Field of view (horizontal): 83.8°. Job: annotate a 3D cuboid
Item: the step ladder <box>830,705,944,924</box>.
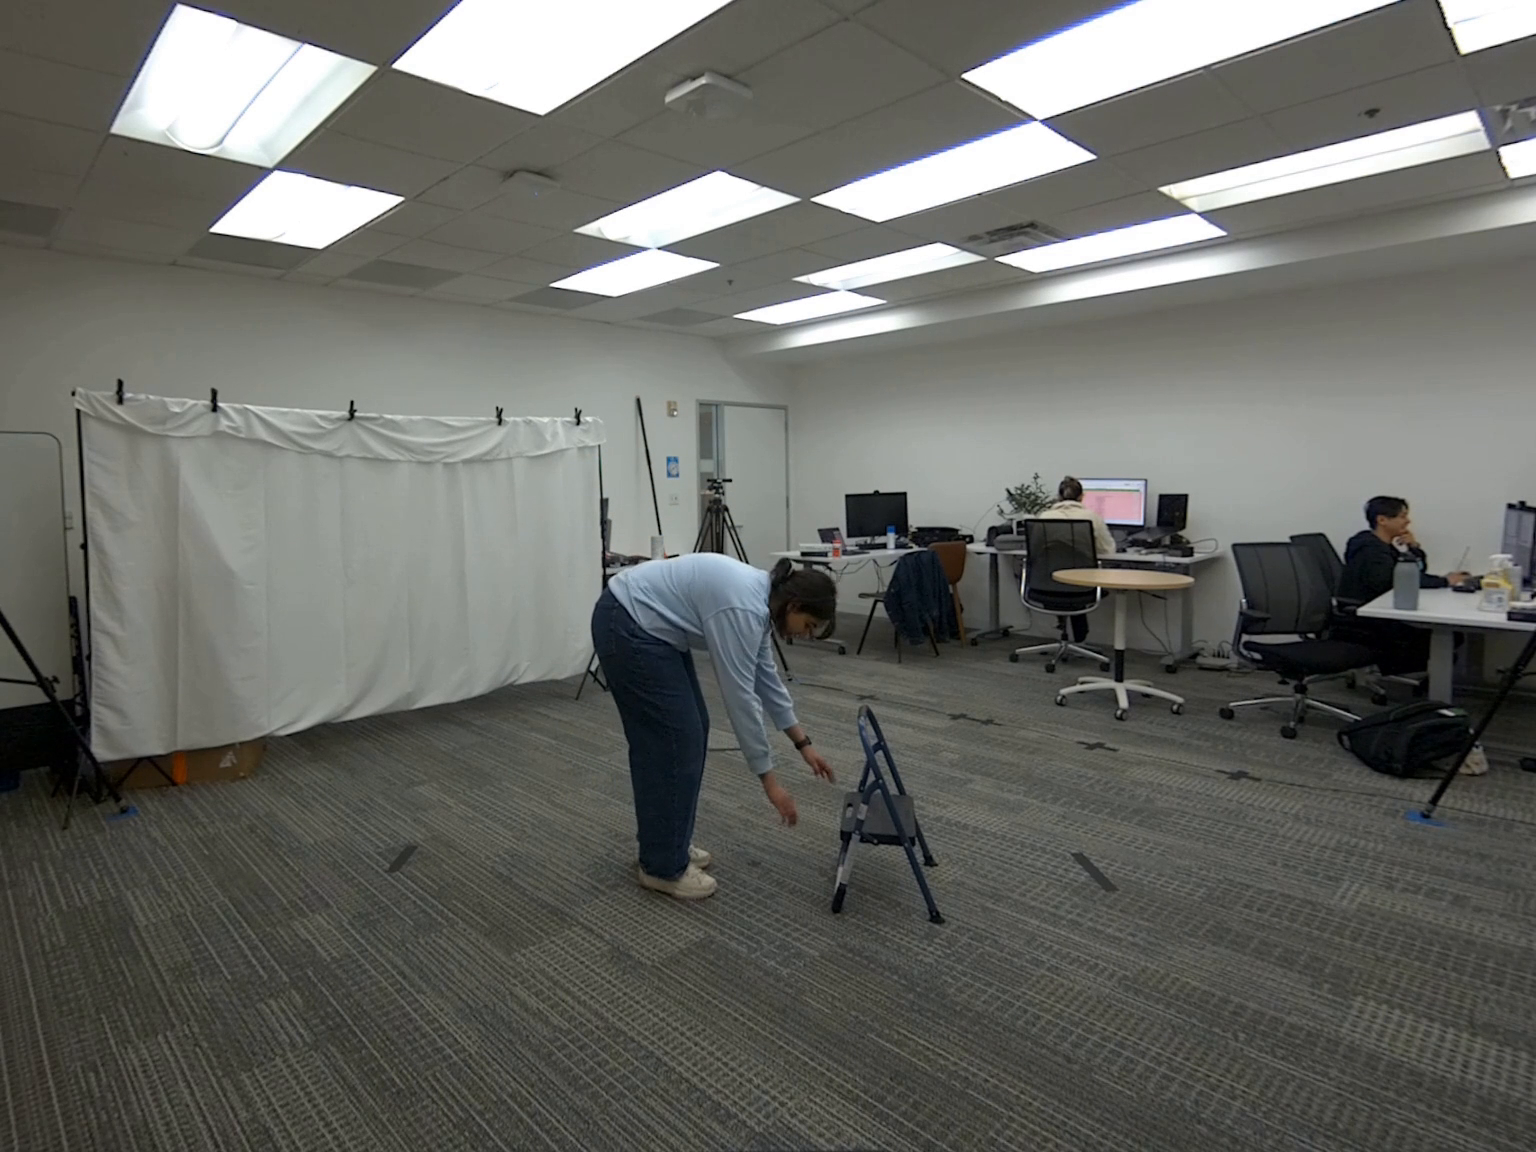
[{"bbox_3d":[0.399,0.756,2.888,0.353,0.604,0.428,0,4,9],"label":"step ladder"}]
